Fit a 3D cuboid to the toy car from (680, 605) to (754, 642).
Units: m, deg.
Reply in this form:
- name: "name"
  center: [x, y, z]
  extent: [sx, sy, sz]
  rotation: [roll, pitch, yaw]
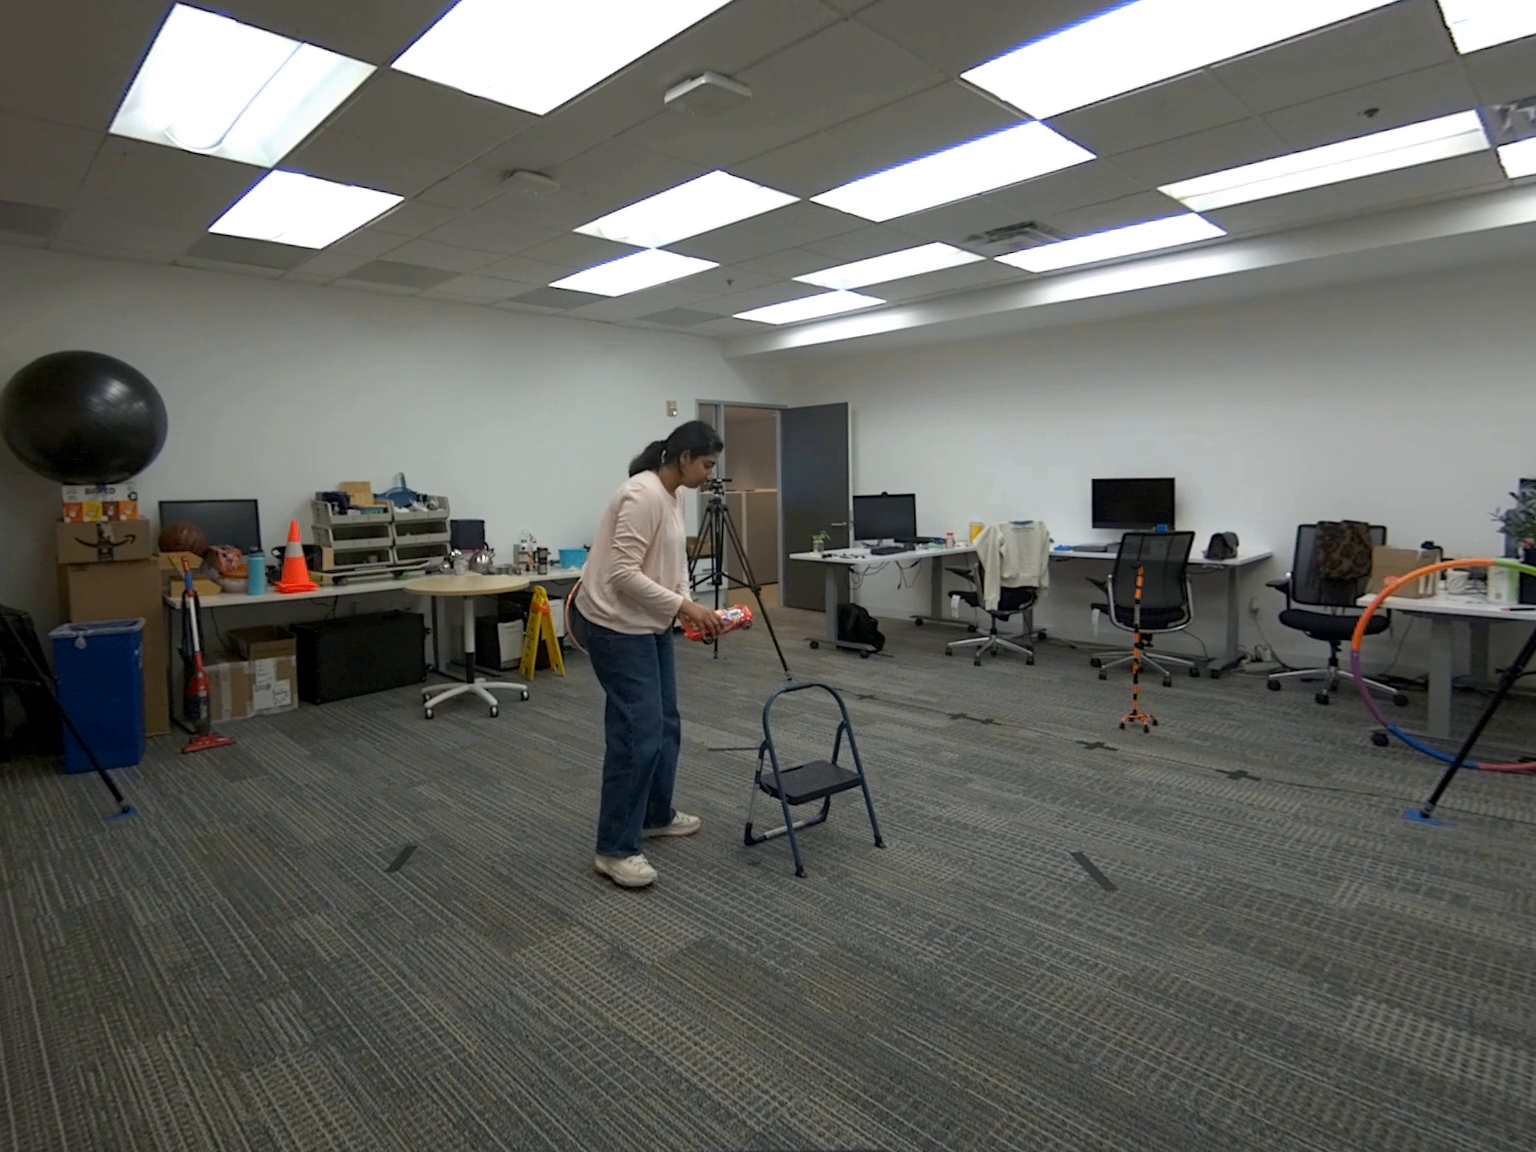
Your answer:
- name: "toy car"
  center: [-0.195, 0.178, 3.088]
  extent: [0.252, 0.081, 0.134]
  rotation: [-10, 29, -12]
